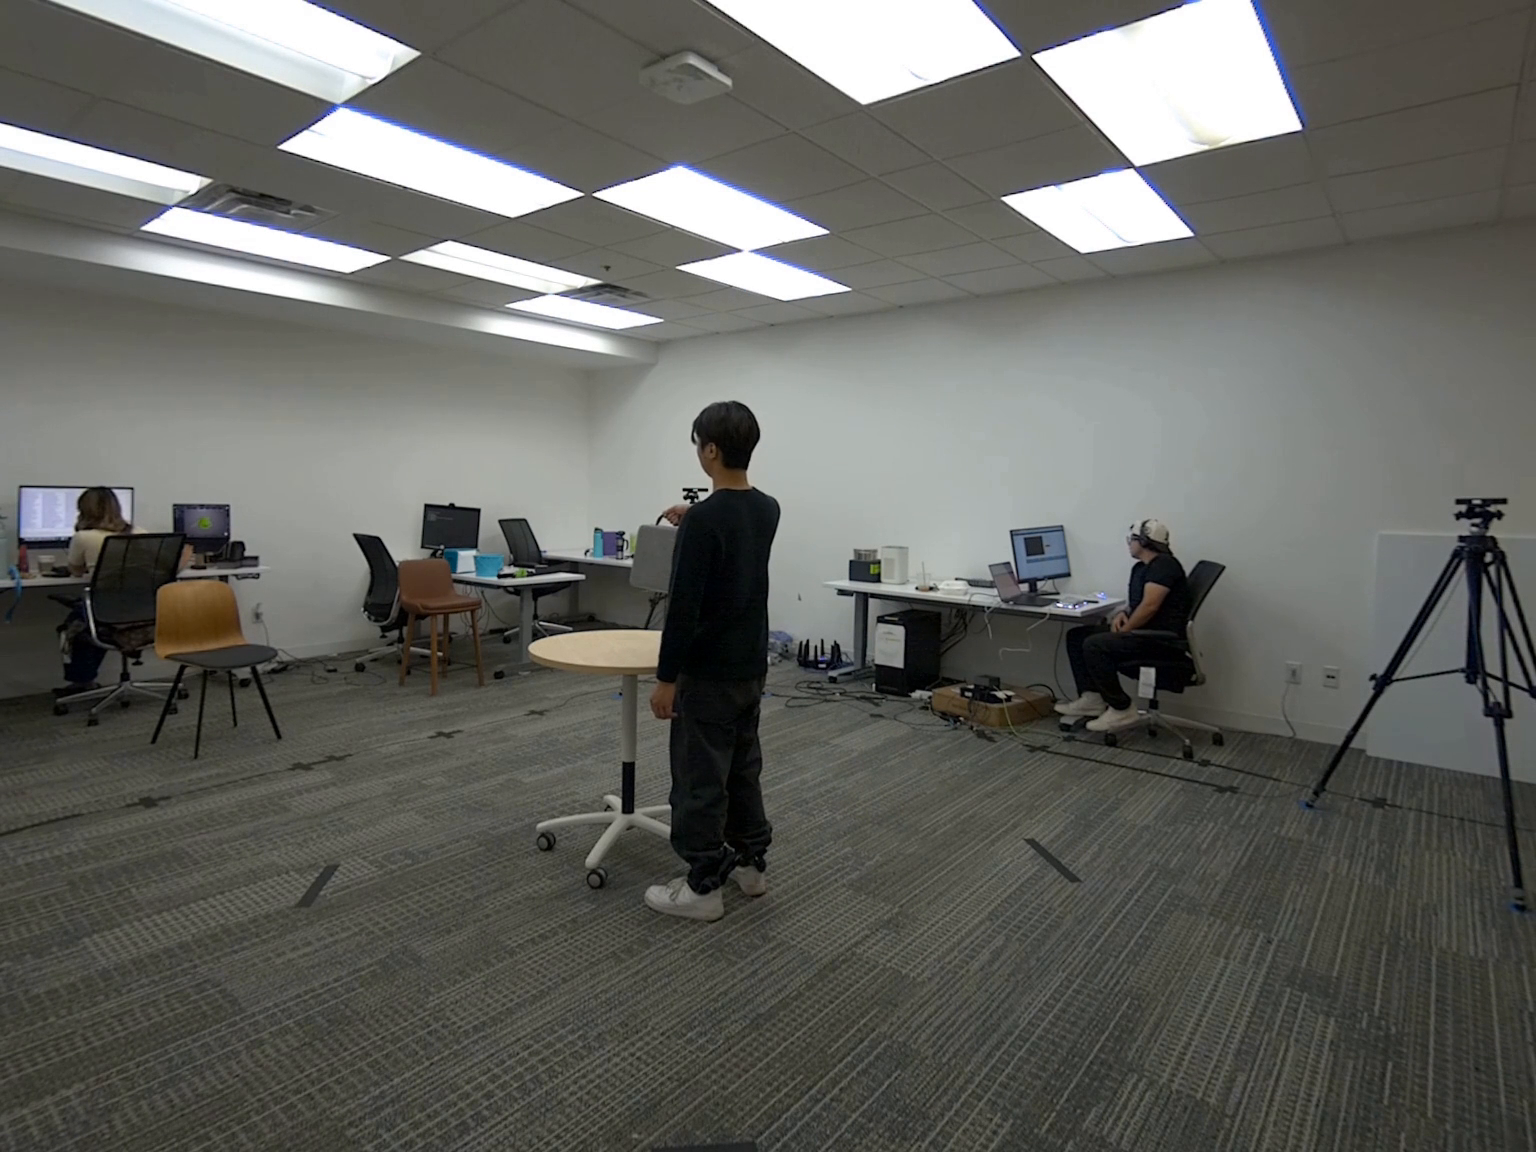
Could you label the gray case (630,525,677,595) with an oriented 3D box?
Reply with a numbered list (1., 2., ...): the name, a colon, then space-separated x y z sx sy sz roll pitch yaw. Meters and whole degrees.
1. gray case: -0.402 -0.065 3.288 0.264 0.261 0.101 7 -1 25
